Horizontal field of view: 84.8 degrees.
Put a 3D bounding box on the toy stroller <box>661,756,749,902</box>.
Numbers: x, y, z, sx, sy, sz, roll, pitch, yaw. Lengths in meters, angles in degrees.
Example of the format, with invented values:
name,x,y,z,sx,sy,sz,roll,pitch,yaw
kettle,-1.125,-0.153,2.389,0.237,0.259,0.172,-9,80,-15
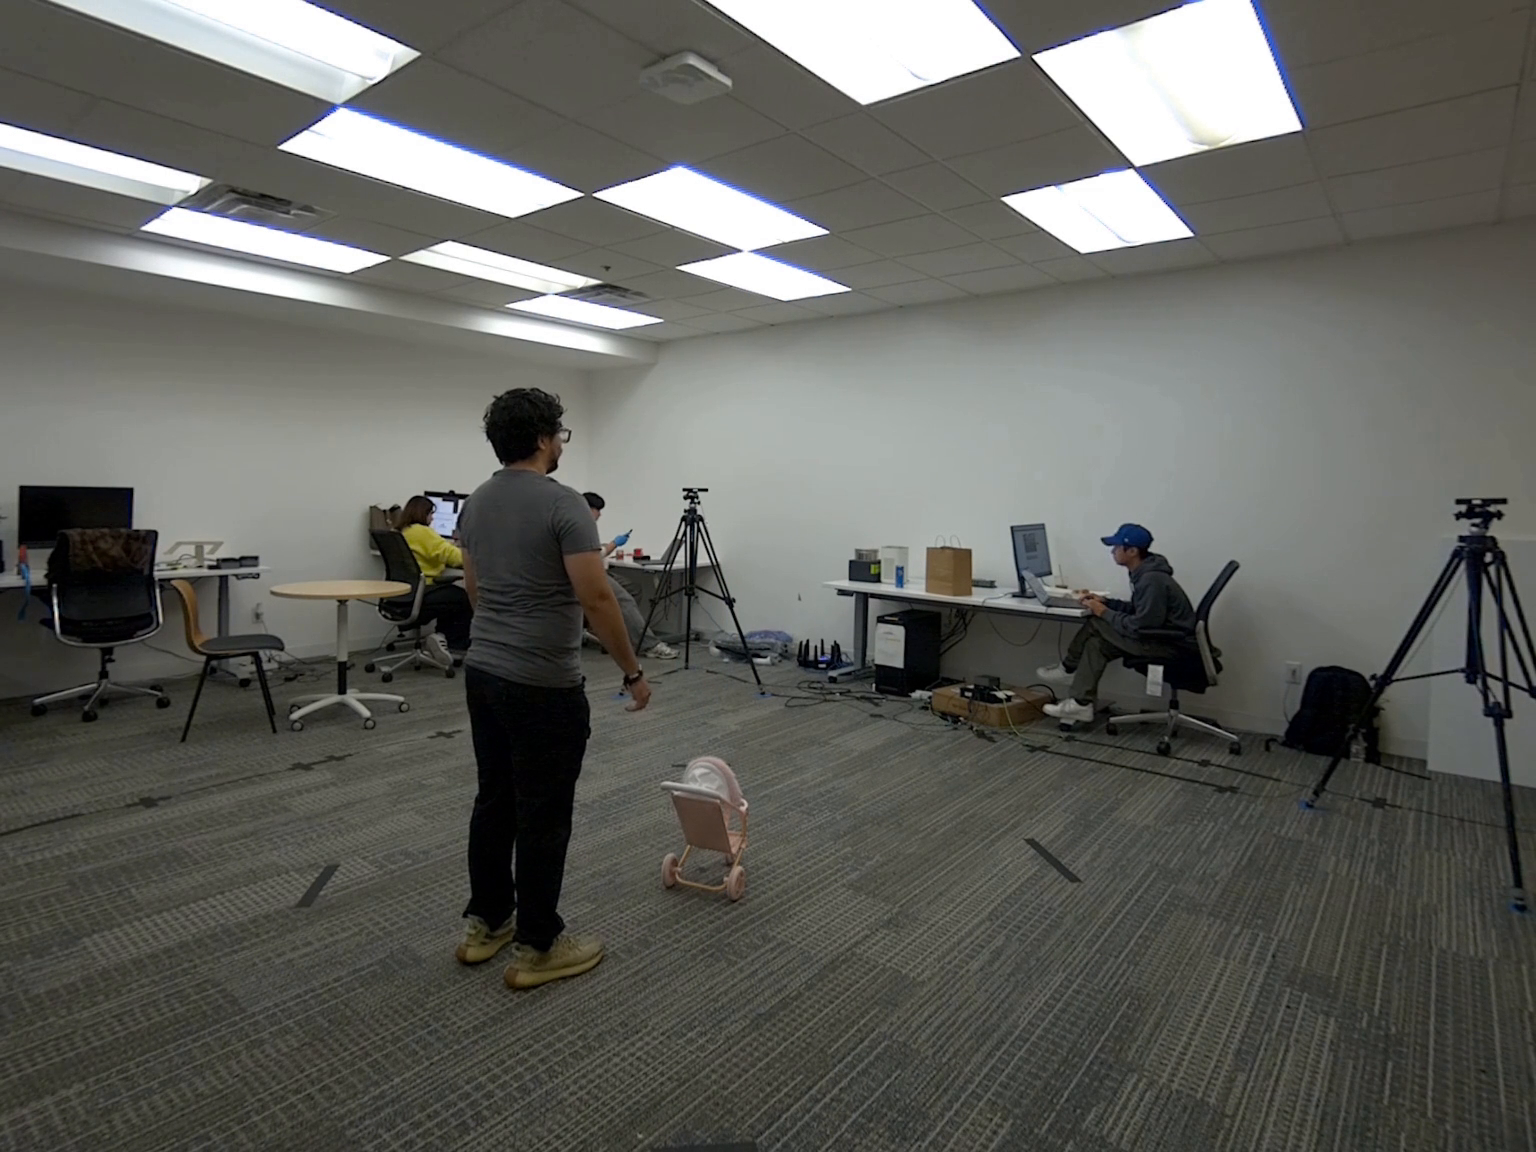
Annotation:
name,x,y,z,sx,sy,sz,roll,pitch,yaw
toy stroller,-0.208,0.859,2.980,0.289,0.525,0.339,3,21,24
